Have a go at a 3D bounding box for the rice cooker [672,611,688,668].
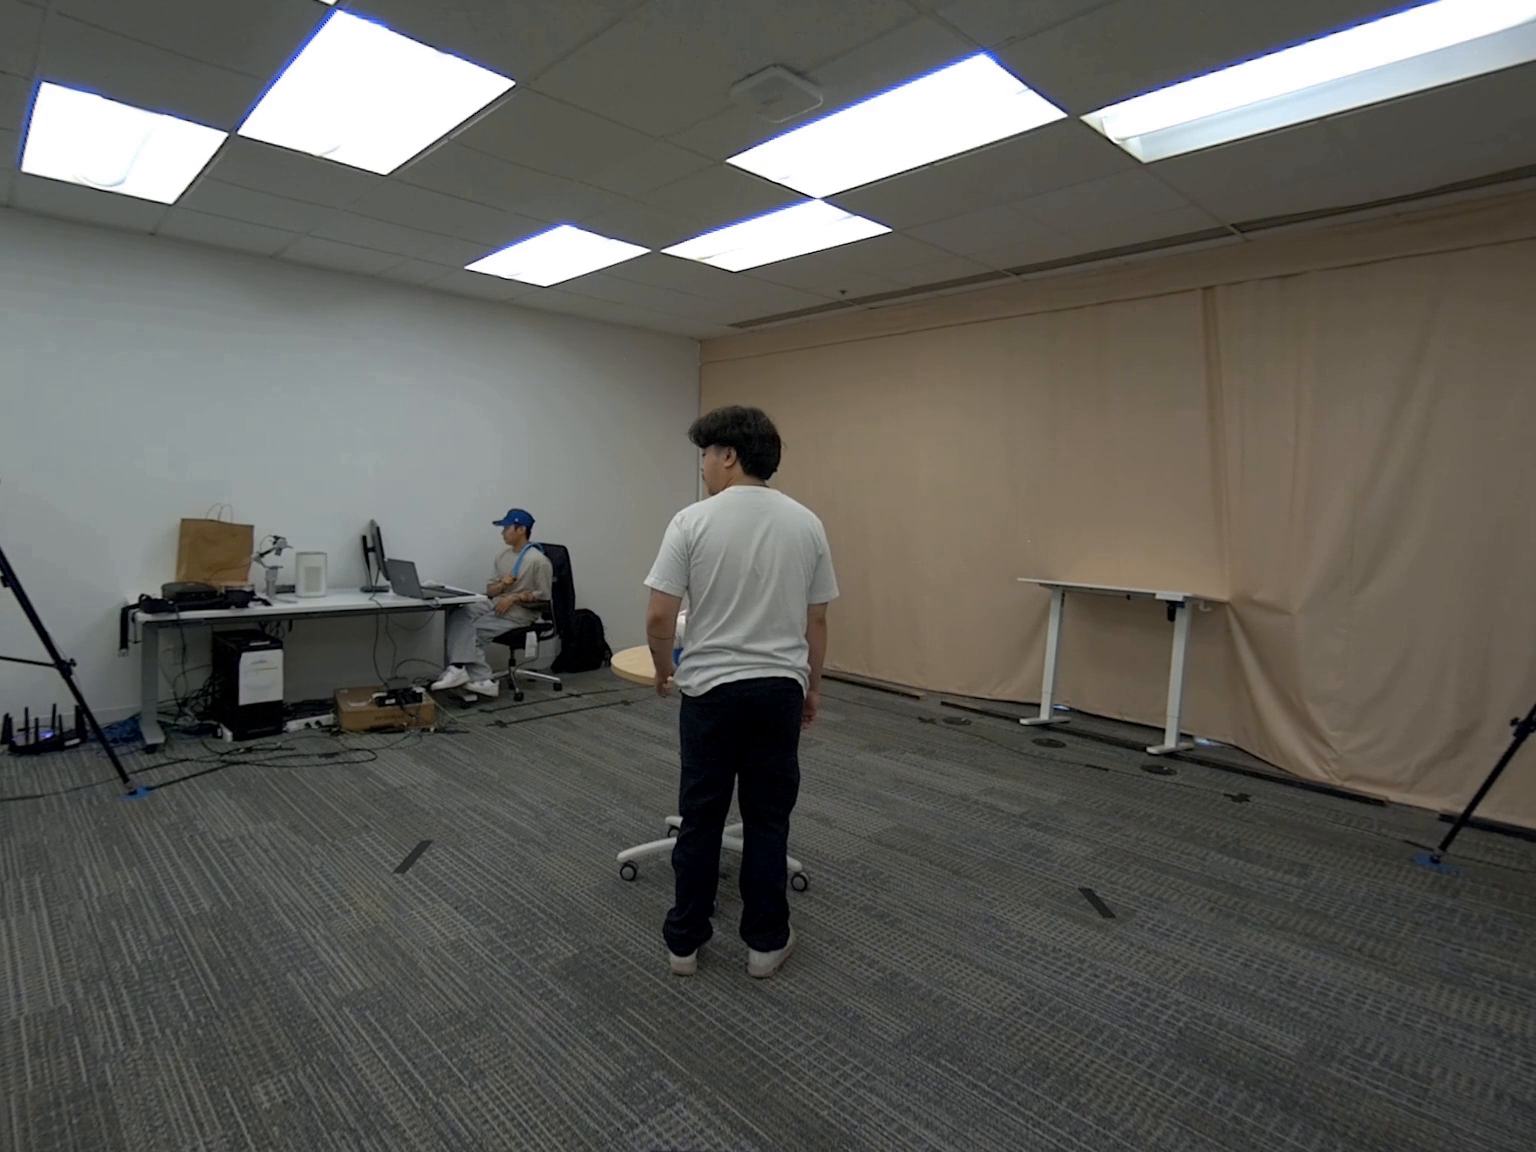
[{"bbox_3d":[-0.227,0.223,2.816,0.219,0.232,0.219,2,5,-6],"label":"rice cooker"}]
